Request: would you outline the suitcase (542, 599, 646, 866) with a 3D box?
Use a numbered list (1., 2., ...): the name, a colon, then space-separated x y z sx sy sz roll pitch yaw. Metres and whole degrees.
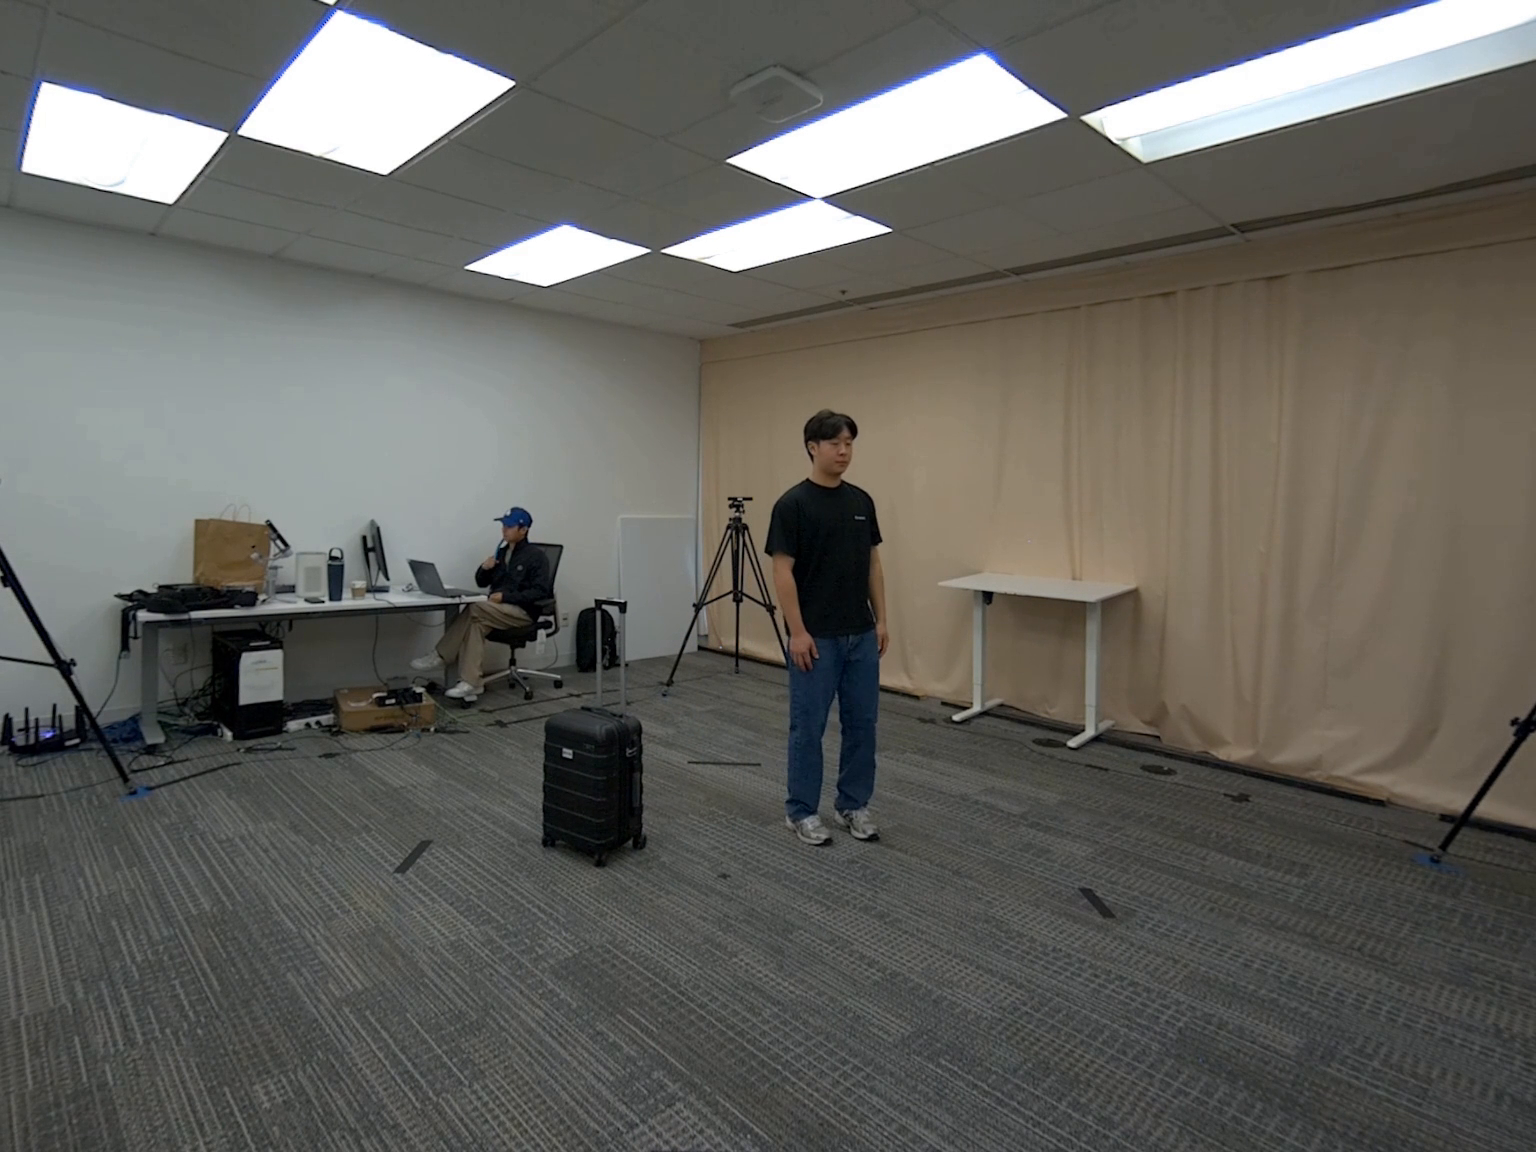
1. suitcase: -0.695 0.605 3.280 0.393 0.974 0.252 4 8 35
